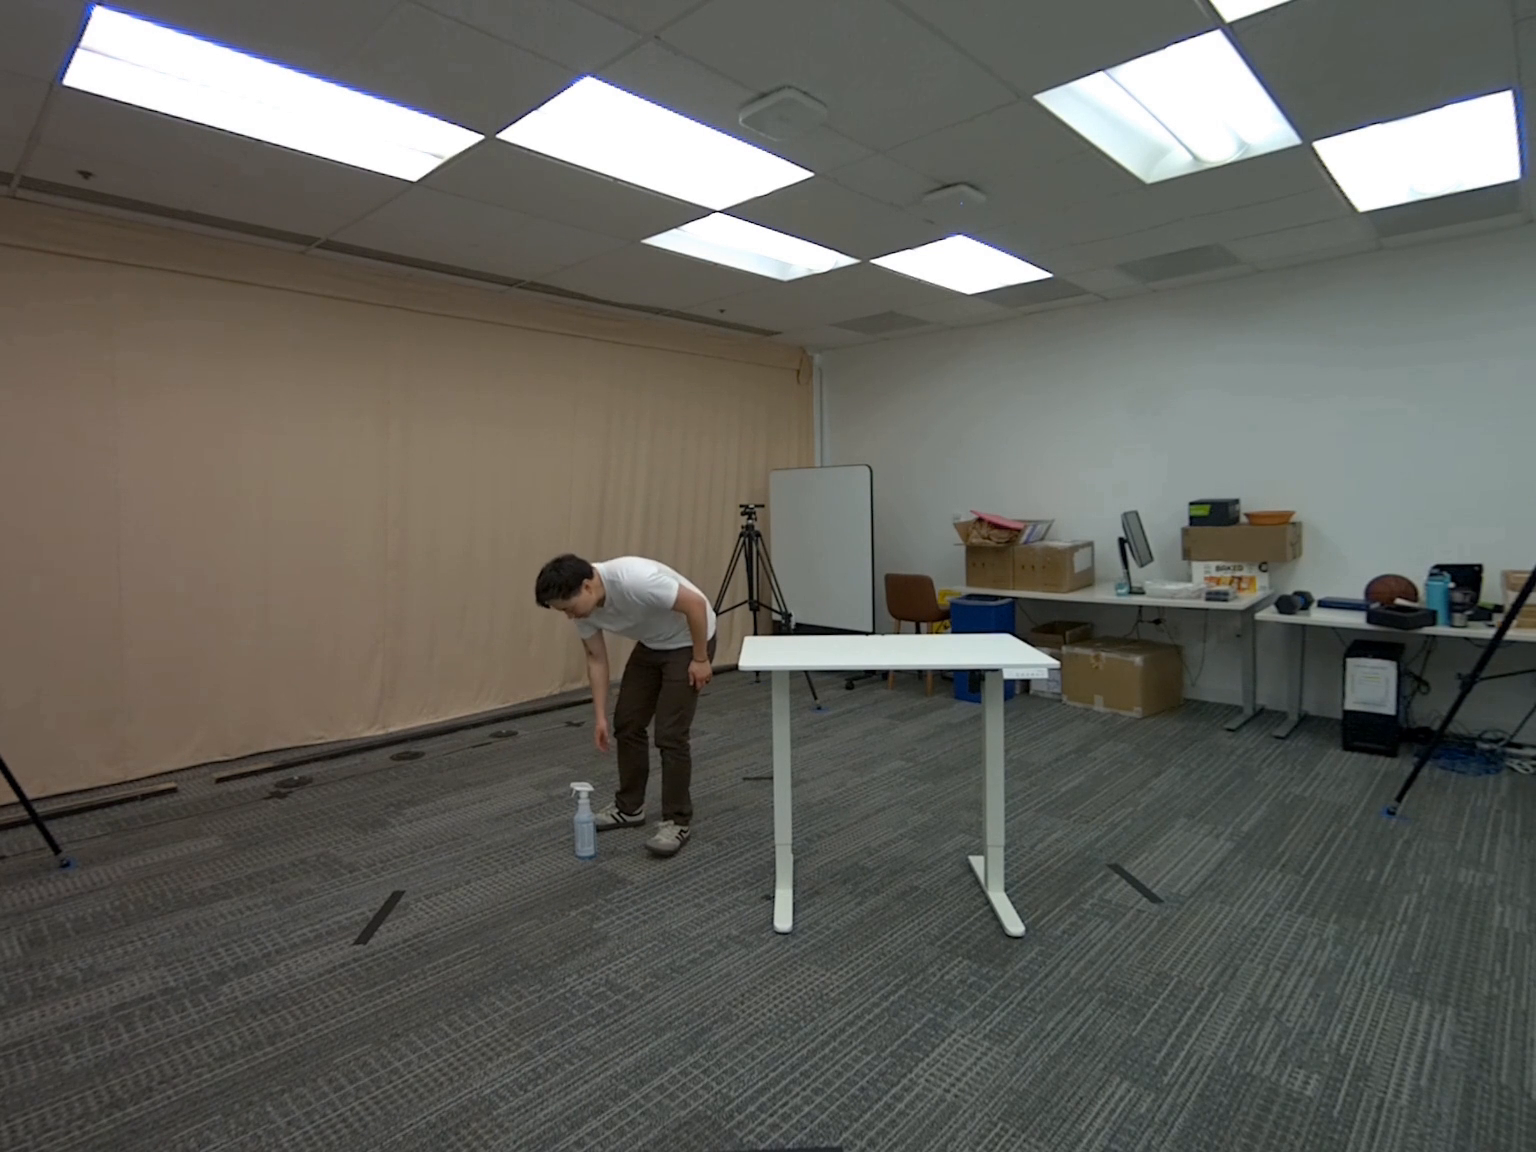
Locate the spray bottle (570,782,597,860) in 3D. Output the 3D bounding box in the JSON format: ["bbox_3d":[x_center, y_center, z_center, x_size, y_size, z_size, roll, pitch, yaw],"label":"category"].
[{"bbox_3d":[-0.743,0.980,3.382,0.092,0.296,0.085,0,4,19],"label":"spray bottle"}]
